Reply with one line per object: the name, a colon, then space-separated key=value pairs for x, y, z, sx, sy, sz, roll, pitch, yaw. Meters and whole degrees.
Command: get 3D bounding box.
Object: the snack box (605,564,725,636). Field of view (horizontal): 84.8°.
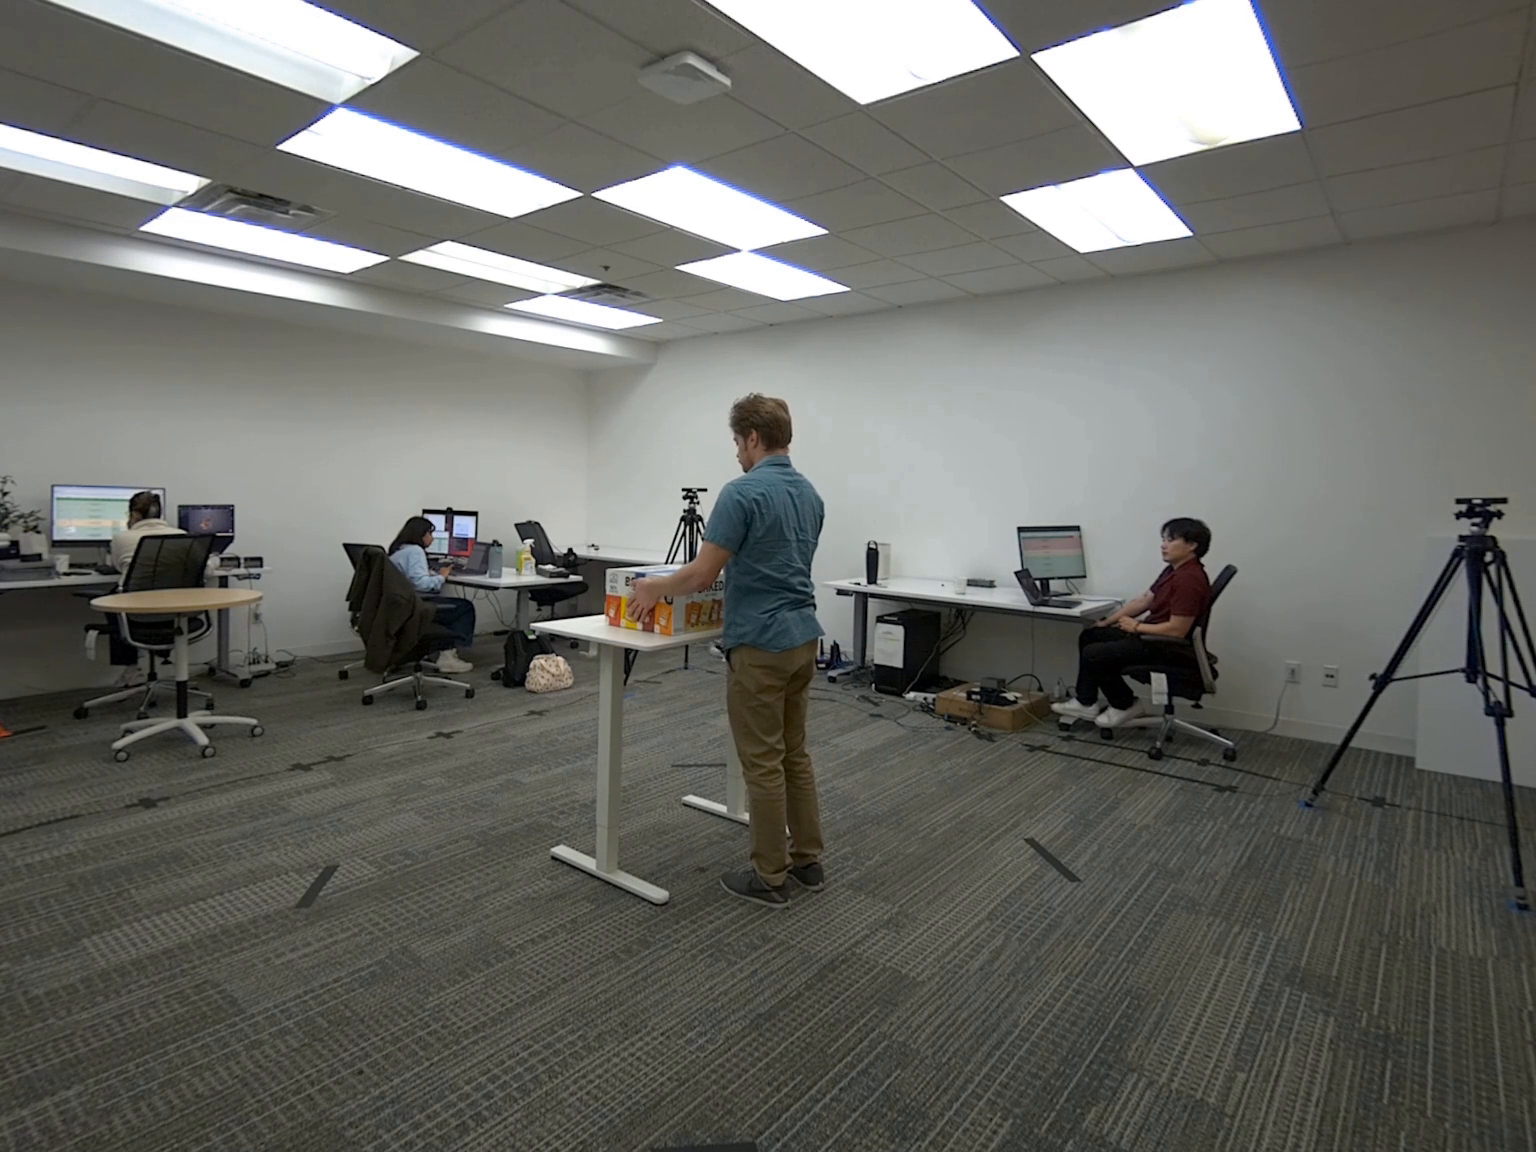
snack box: x=-0.356 y=0.074 z=3.162 sx=0.352 sy=0.205 sz=0.393 roll=7 pitch=7 yaw=37
